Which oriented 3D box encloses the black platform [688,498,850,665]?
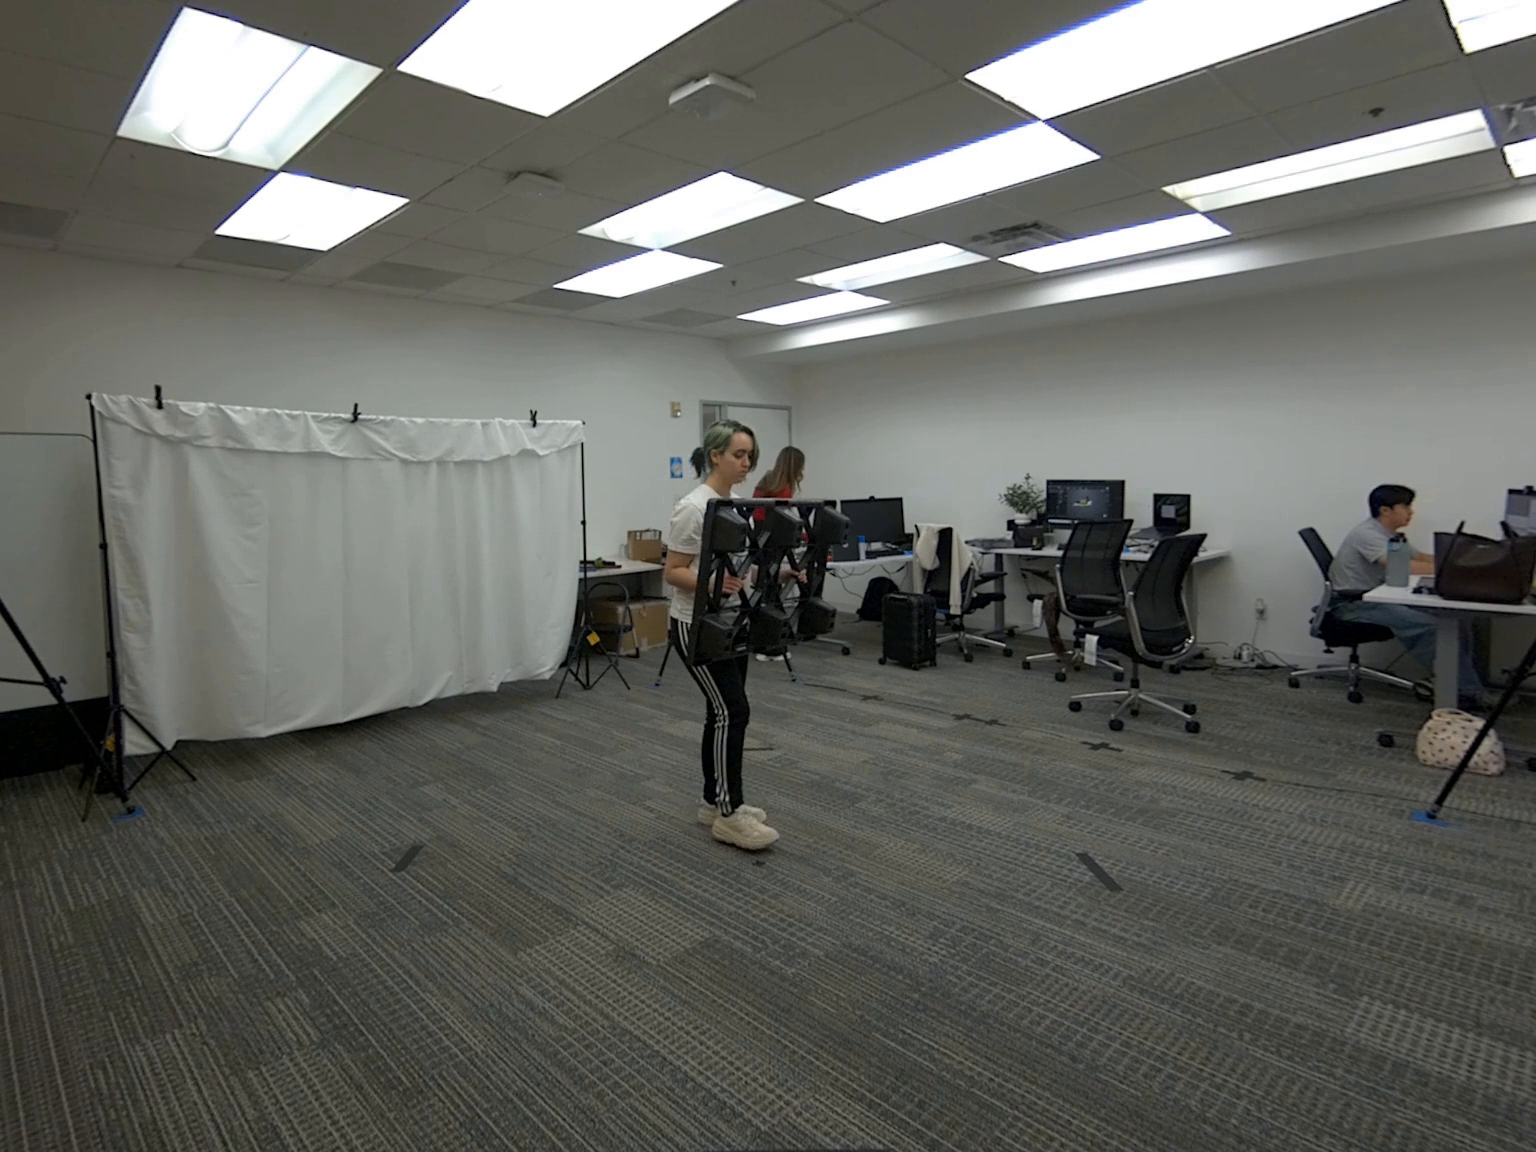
[{"bbox_3d":[0.028,0.016,3.236,0.148,0.601,0.784,13,11,37],"label":"black platform"}]
